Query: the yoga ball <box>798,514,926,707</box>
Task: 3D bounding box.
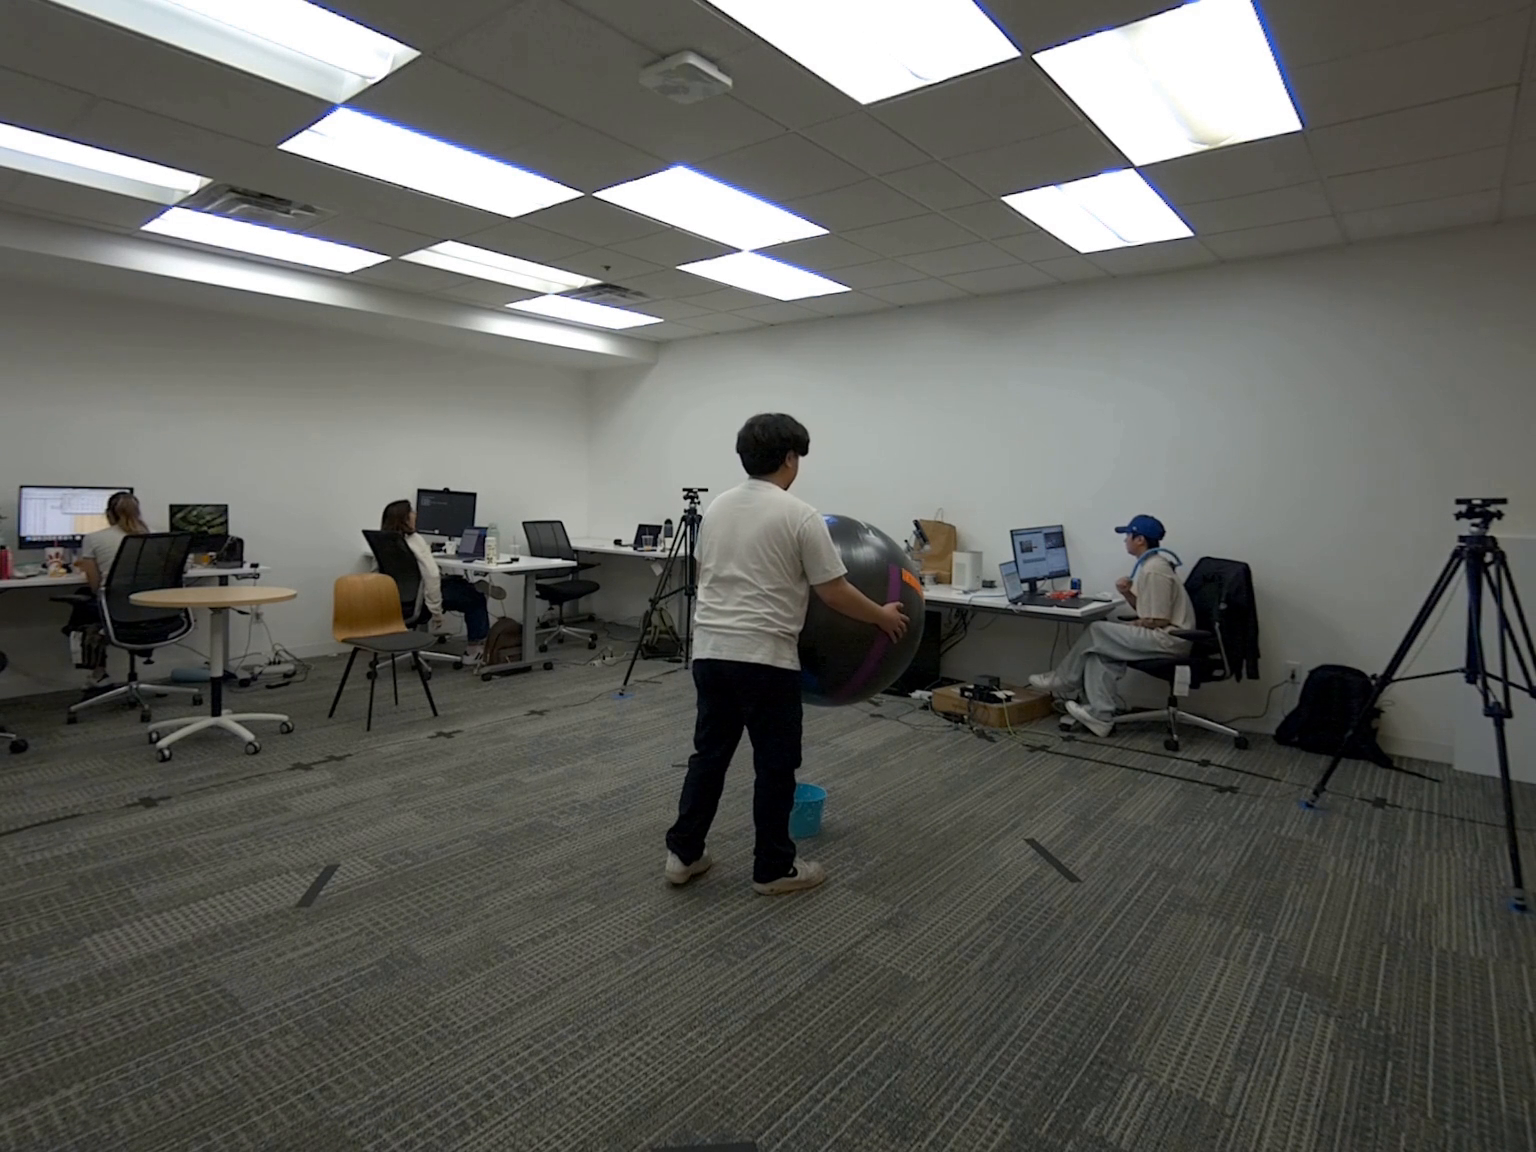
[{"bbox_3d":[0.242,0.135,3.397,0.757,0.755,0.762,1,4,-2],"label":"yoga ball"}]
